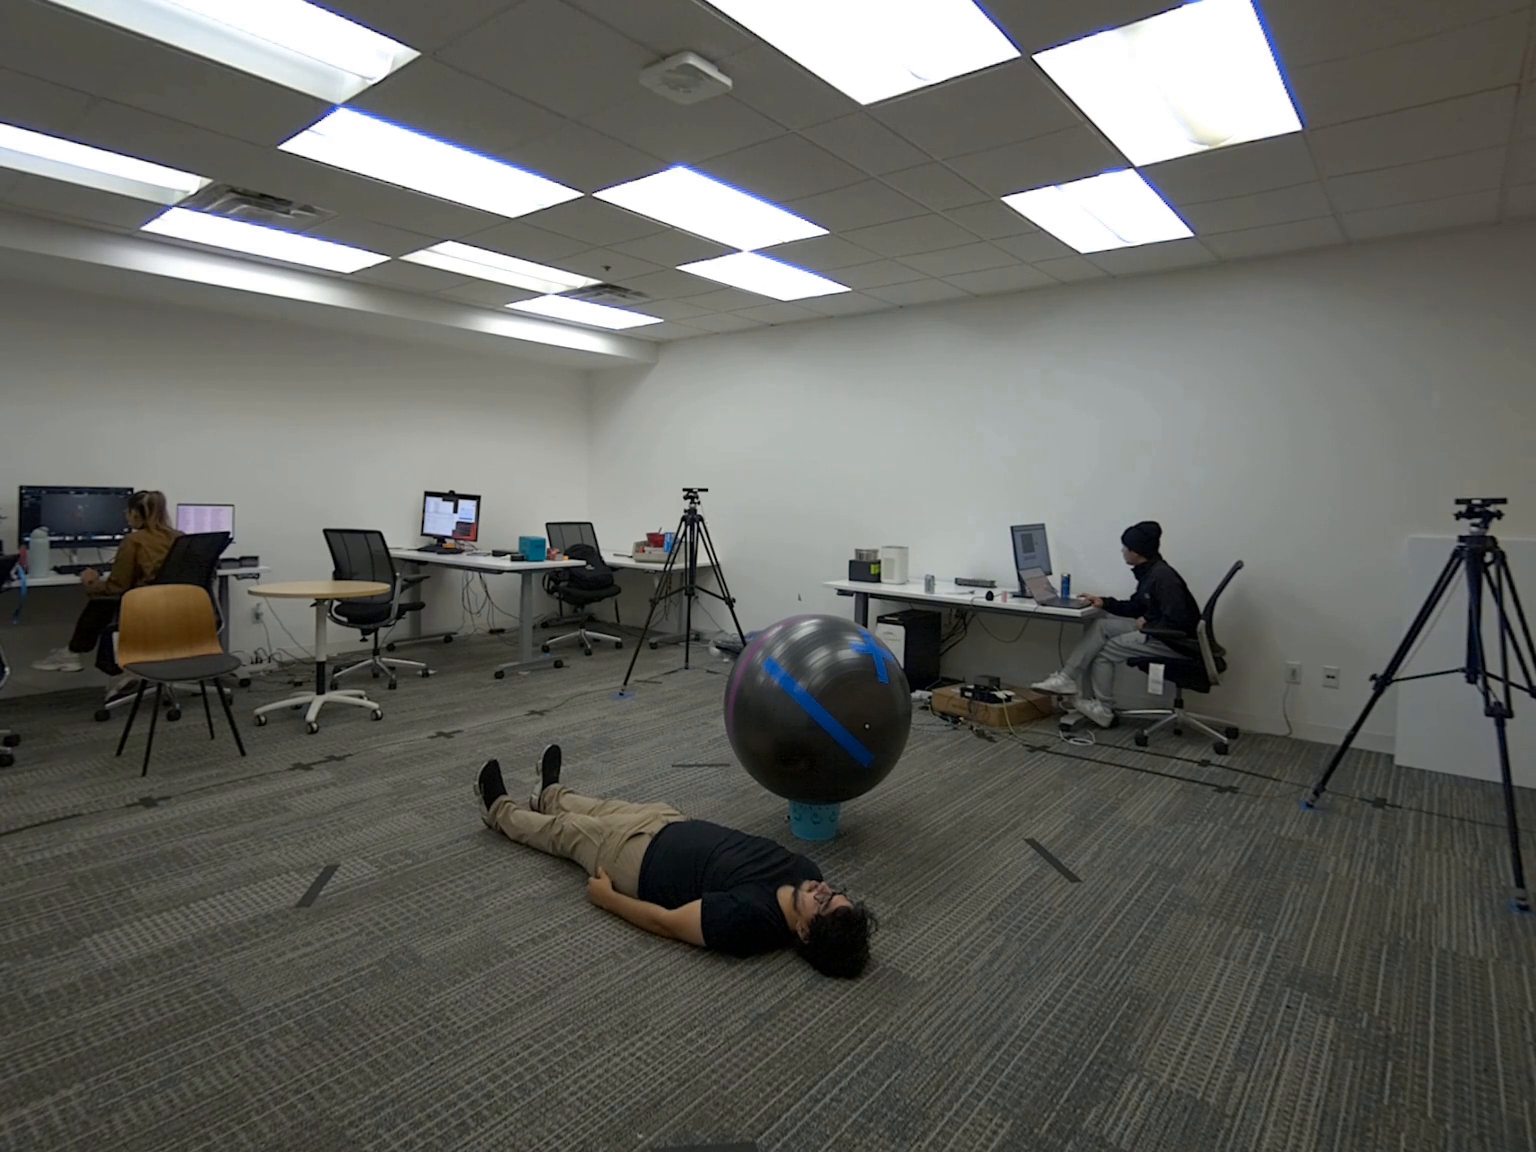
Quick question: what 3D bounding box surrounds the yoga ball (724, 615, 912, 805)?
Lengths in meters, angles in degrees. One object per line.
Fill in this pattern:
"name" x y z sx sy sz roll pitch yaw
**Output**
"yoga ball" 0.190 0.537 3.462 0.757 0.756 0.761 0 4 -2
